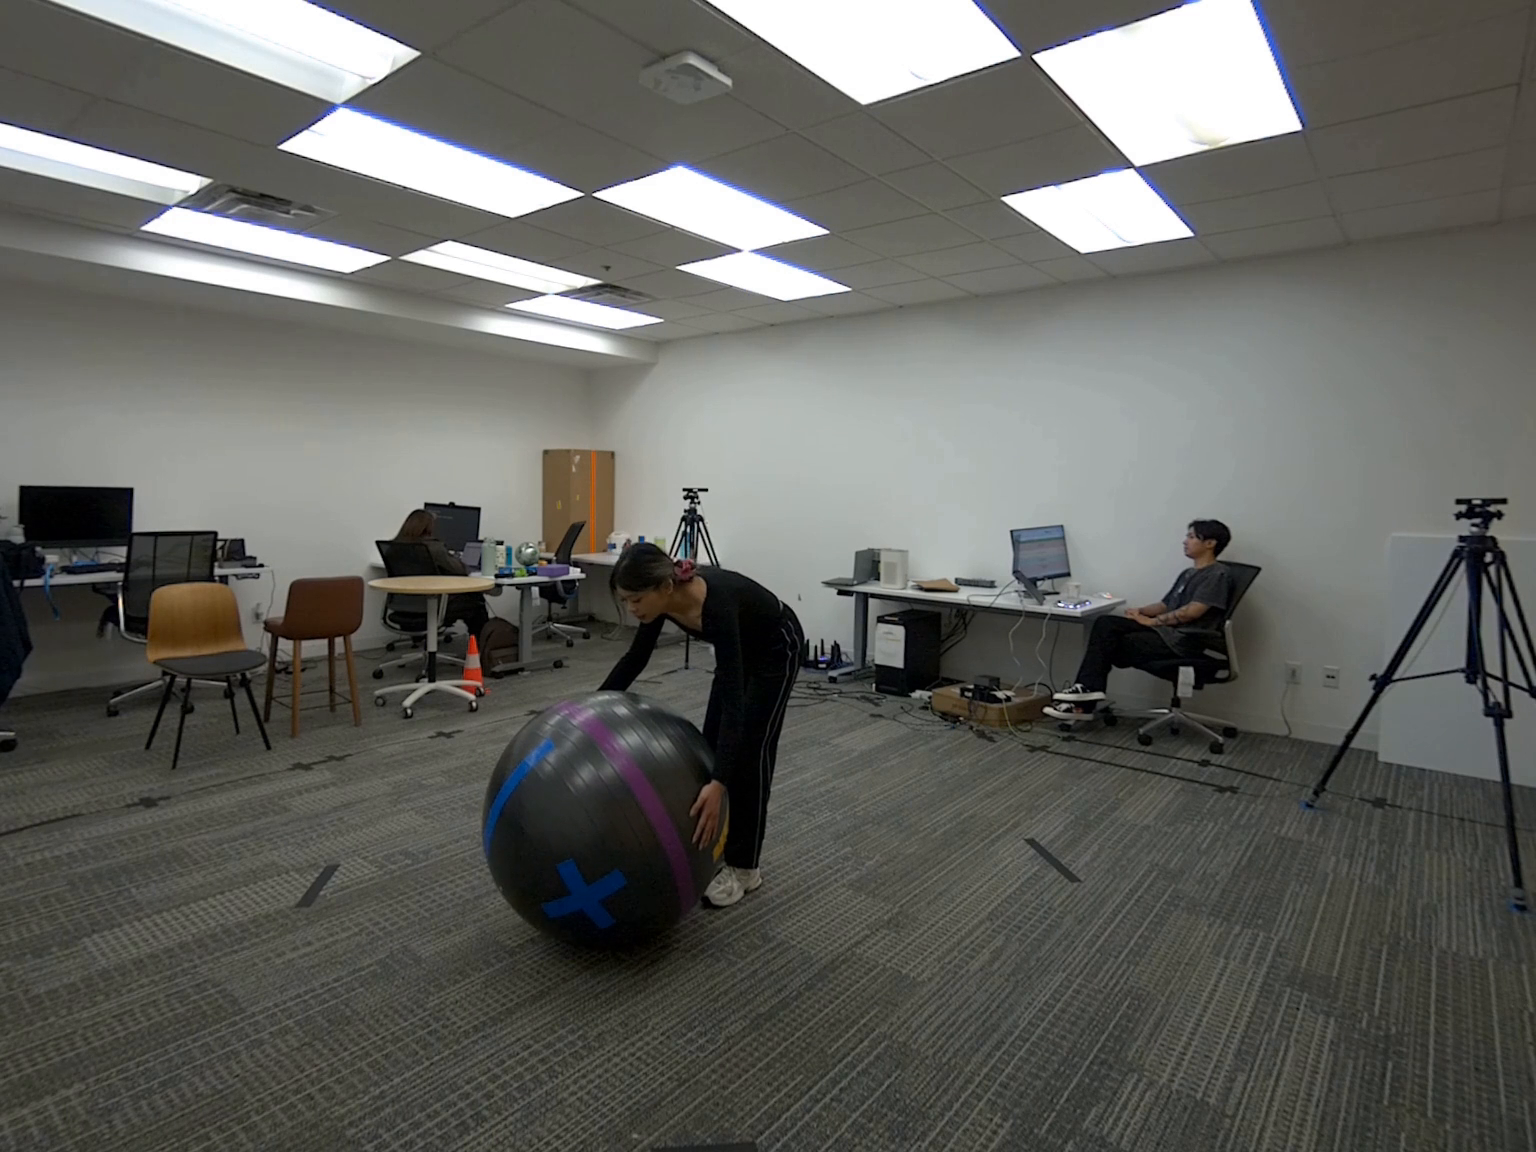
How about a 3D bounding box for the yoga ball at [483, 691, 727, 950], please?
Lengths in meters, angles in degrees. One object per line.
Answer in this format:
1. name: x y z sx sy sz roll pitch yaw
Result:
1. yoga ball: -0.508 0.739 2.646 0.757 0.755 0.762 1 4 -2
